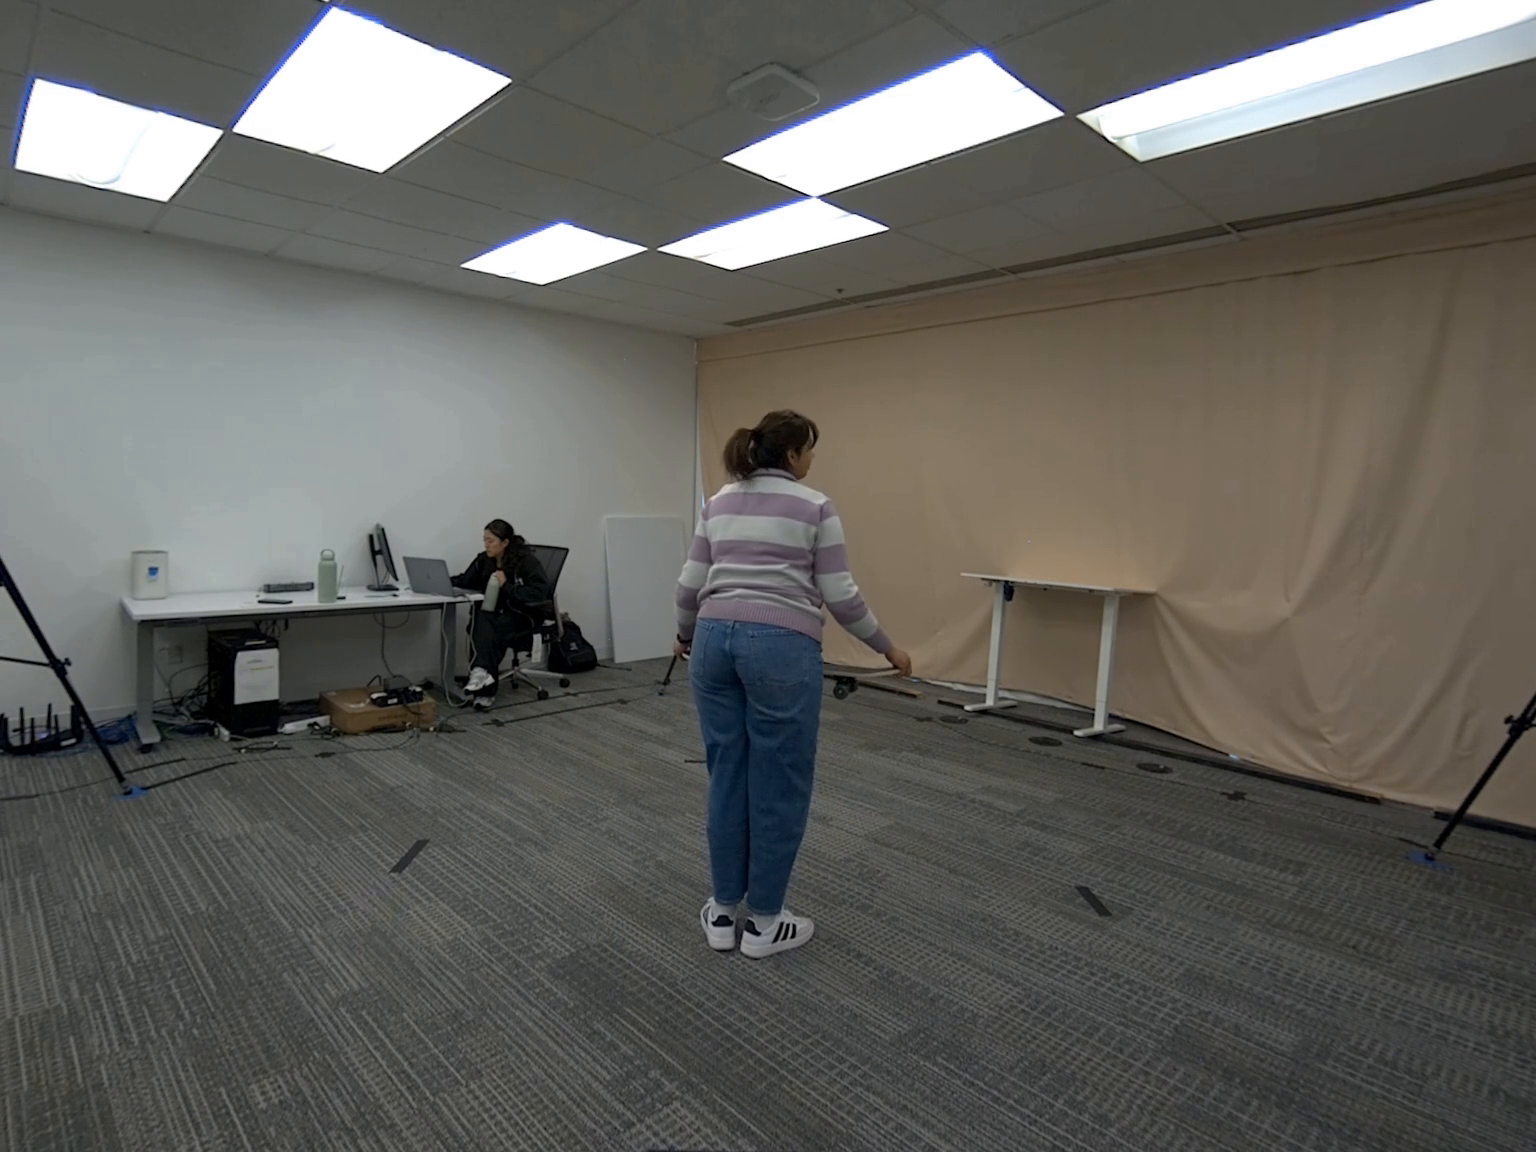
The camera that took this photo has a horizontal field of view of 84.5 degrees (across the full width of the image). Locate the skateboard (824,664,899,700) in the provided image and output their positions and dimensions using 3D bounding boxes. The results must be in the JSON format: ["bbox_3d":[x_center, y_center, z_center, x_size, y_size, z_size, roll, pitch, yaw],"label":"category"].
[{"bbox_3d":[0.067,0.350,2.881,0.797,0.110,0.190,4,-1,19],"label":"skateboard"}]
